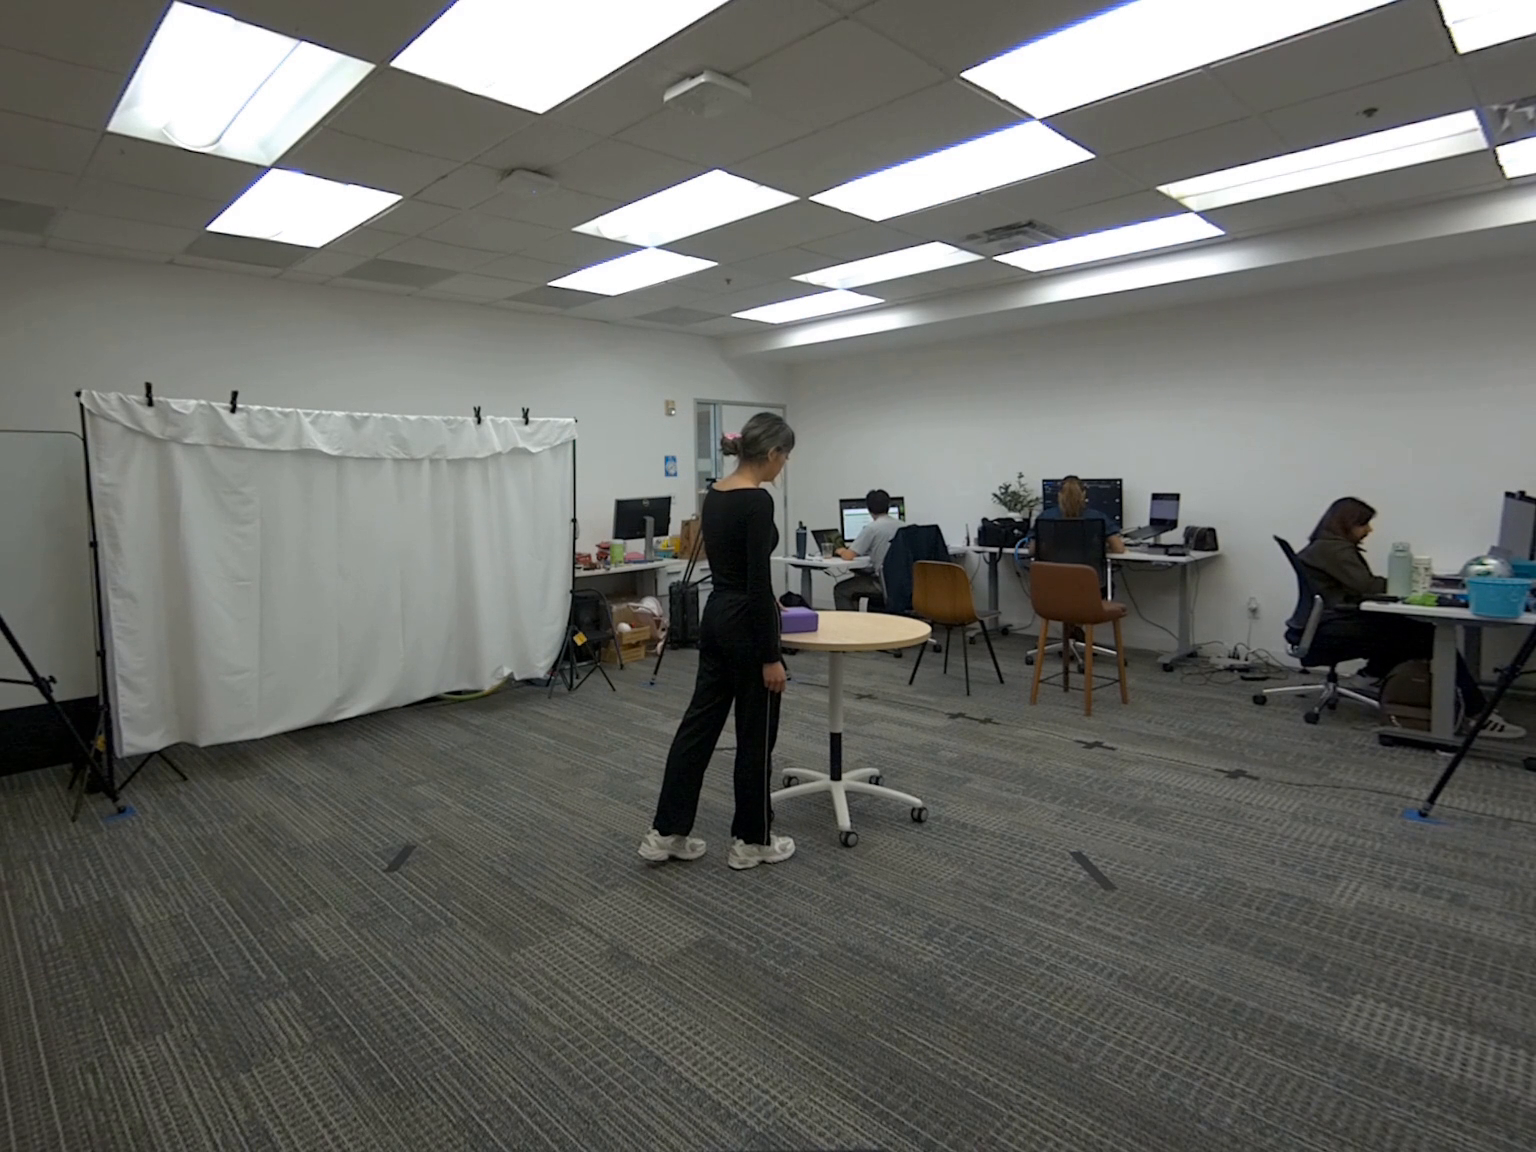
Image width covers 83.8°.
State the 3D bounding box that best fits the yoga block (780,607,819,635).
[{"bbox_3d":[0.077,0.179,3.413,0.227,0.076,0.151,-1,8,-12],"label":"yoga block"}]
